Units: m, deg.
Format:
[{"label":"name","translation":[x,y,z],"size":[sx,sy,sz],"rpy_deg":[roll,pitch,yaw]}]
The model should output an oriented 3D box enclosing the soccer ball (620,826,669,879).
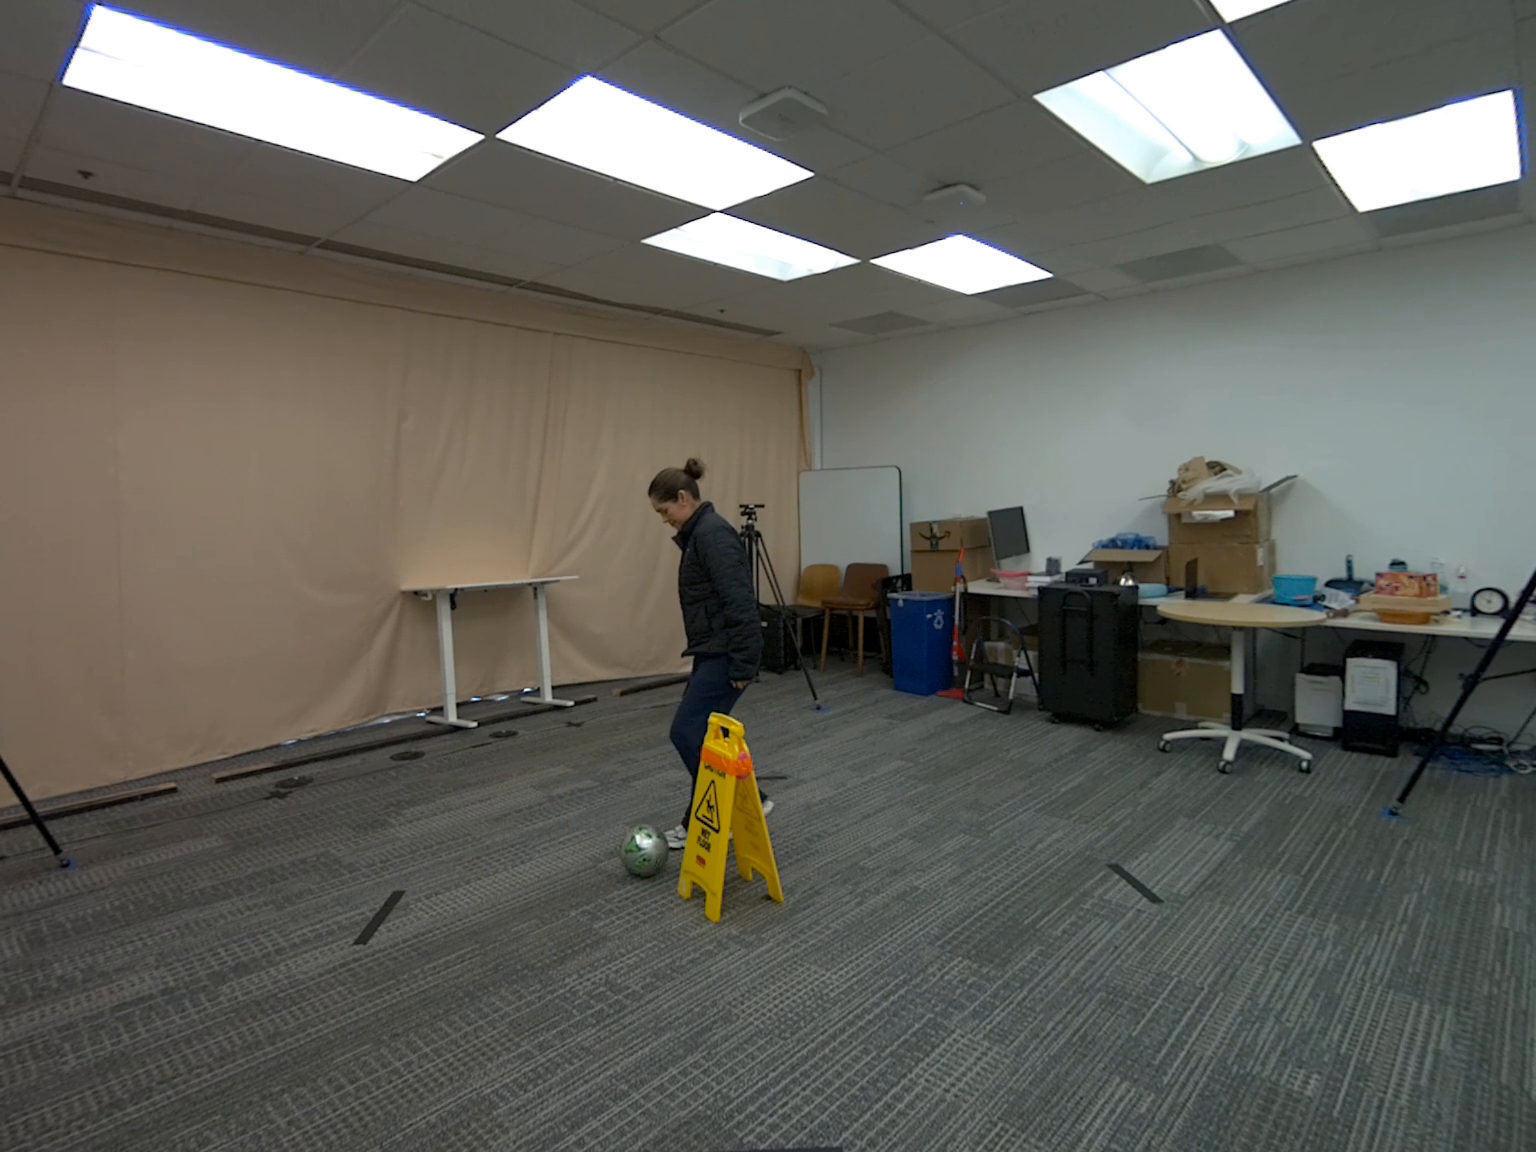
[{"label":"soccer ball","translation":[-0.469,1.044,3.188],"size":[0.187,0.187,0.188],"rpy_deg":[-1,4,-2]}]
